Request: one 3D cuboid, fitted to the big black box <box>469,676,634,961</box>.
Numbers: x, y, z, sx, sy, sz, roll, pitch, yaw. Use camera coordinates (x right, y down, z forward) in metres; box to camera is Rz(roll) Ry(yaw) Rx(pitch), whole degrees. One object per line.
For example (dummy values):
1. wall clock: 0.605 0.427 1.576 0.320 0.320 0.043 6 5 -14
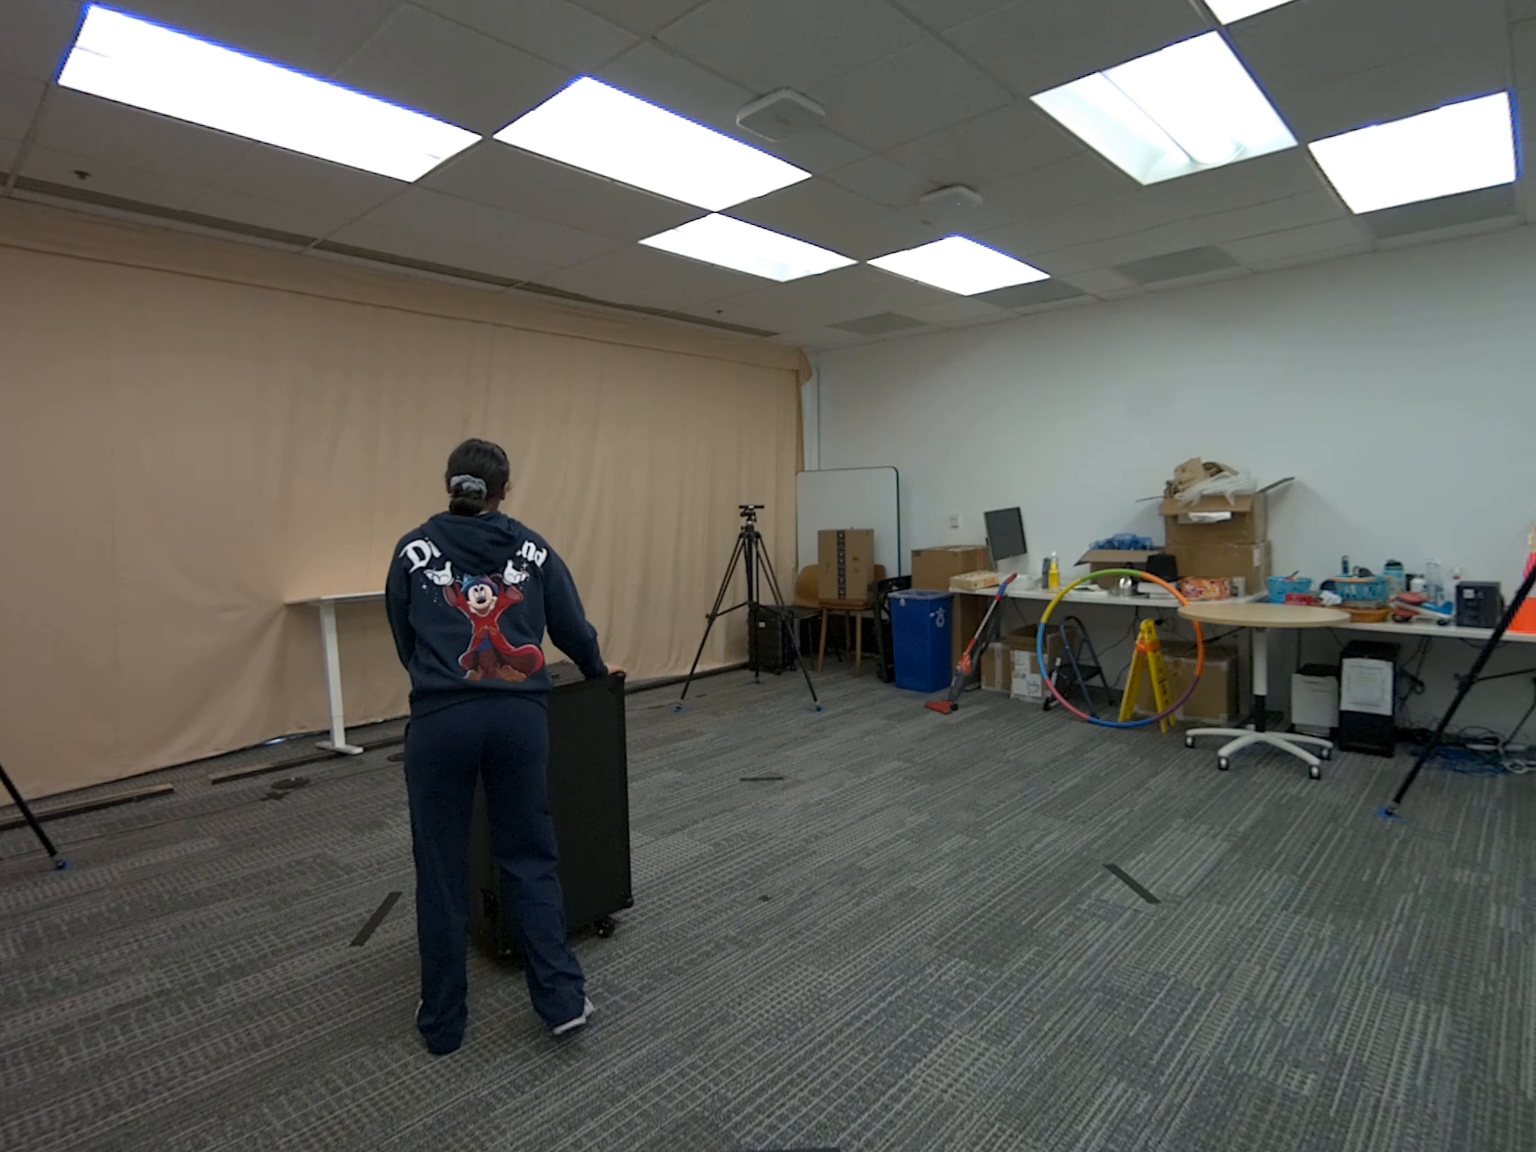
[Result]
1. big black box: -0.759 0.756 2.747 0.409 0.860 0.505 -1 3 44
